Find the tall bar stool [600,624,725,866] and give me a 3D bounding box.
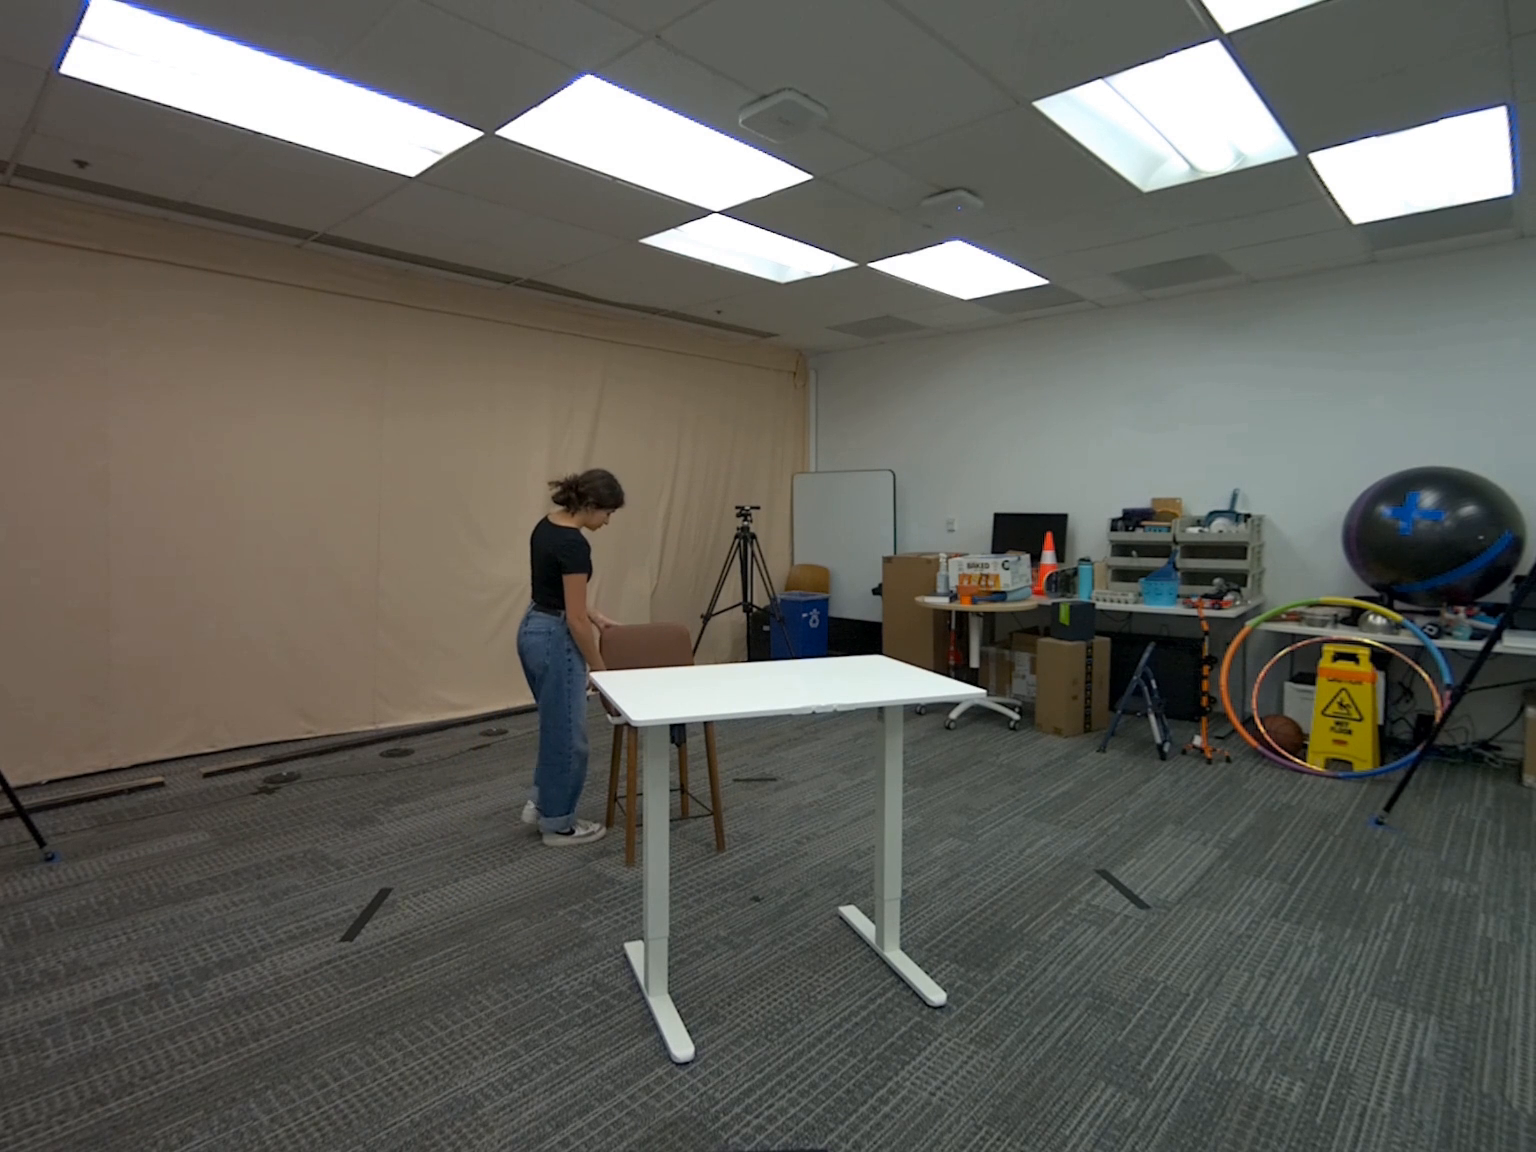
[{"bbox_3d":[-0.451,0.669,3.510,0.447,0.889,0.478,-2,1,-22],"label":"tall bar stool"}]
